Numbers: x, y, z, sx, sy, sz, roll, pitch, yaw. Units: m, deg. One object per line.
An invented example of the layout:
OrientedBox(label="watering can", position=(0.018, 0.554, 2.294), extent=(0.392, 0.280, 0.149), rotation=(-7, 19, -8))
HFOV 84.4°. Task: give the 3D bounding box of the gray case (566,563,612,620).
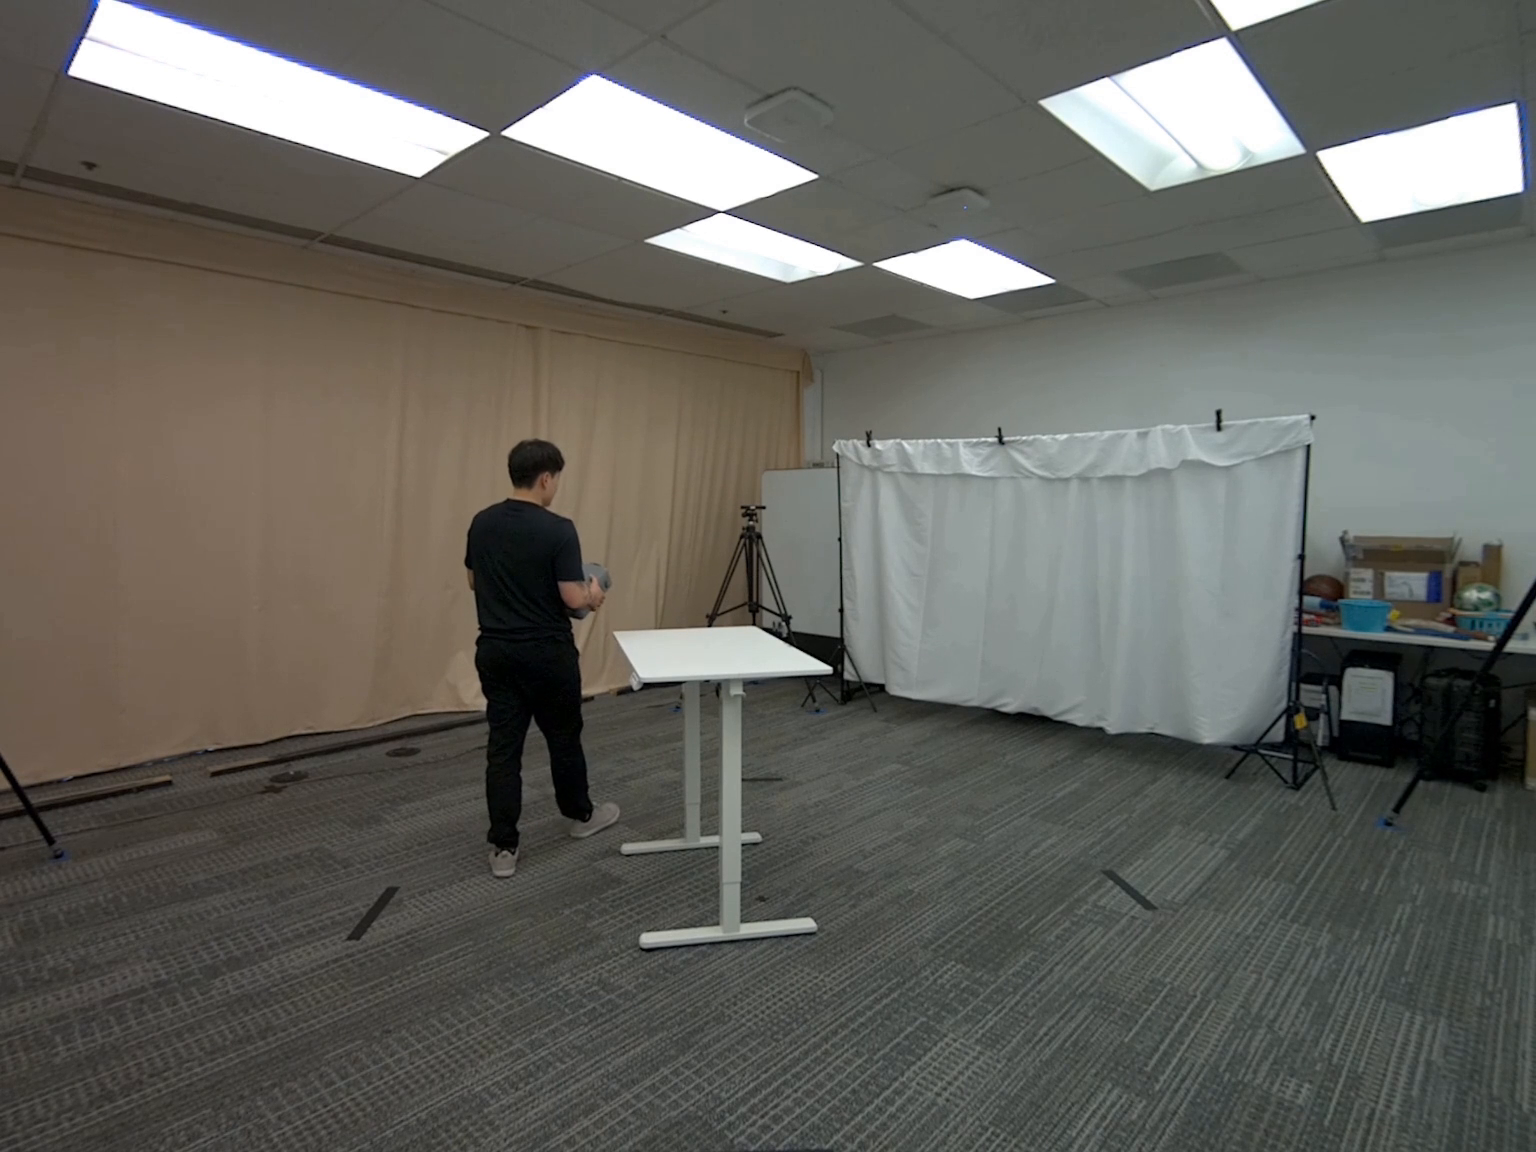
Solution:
OrientedBox(label="gray case", position=(-0.860, 0.041, 3.603), extent=(0.265, 0.102, 0.259), rotation=(12, 46, 28))
